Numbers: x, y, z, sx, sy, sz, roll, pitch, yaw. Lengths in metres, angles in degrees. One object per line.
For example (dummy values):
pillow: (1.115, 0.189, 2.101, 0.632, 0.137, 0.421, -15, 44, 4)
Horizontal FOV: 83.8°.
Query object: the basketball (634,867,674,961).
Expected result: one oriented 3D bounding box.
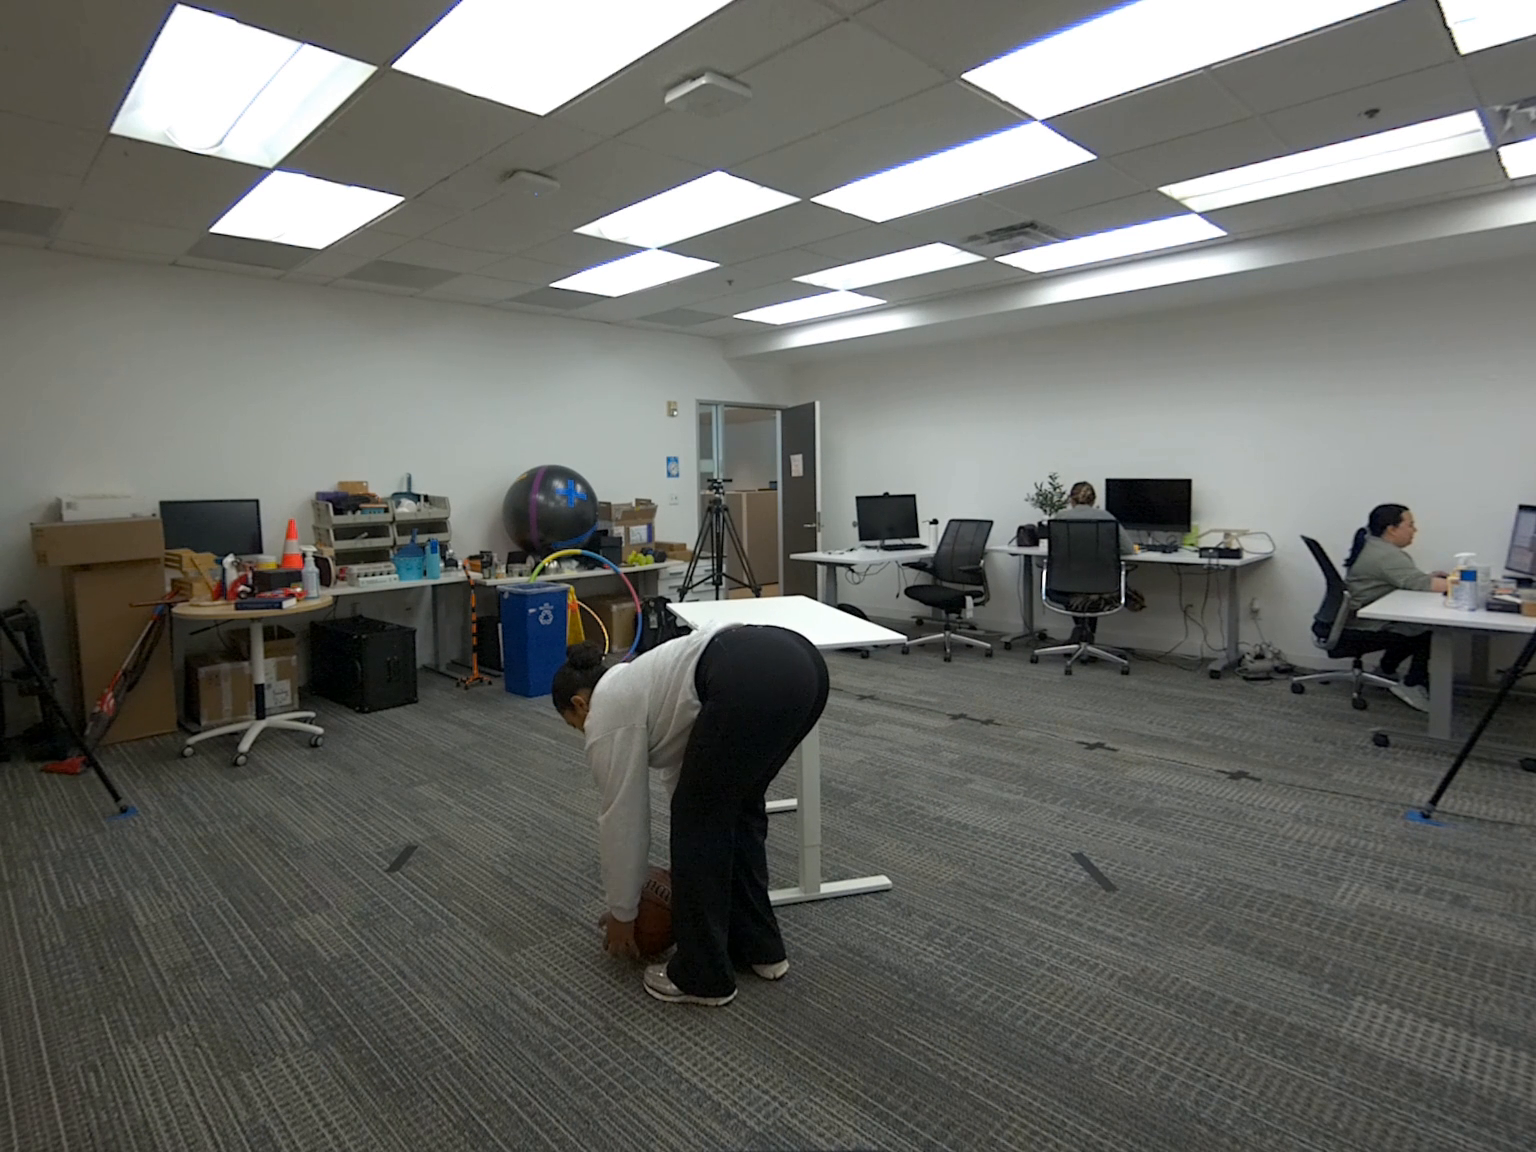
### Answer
basketball: (-0.343, 0.990, 2.562, 0.236, 0.235, 0.237, -1, 5, -2)
